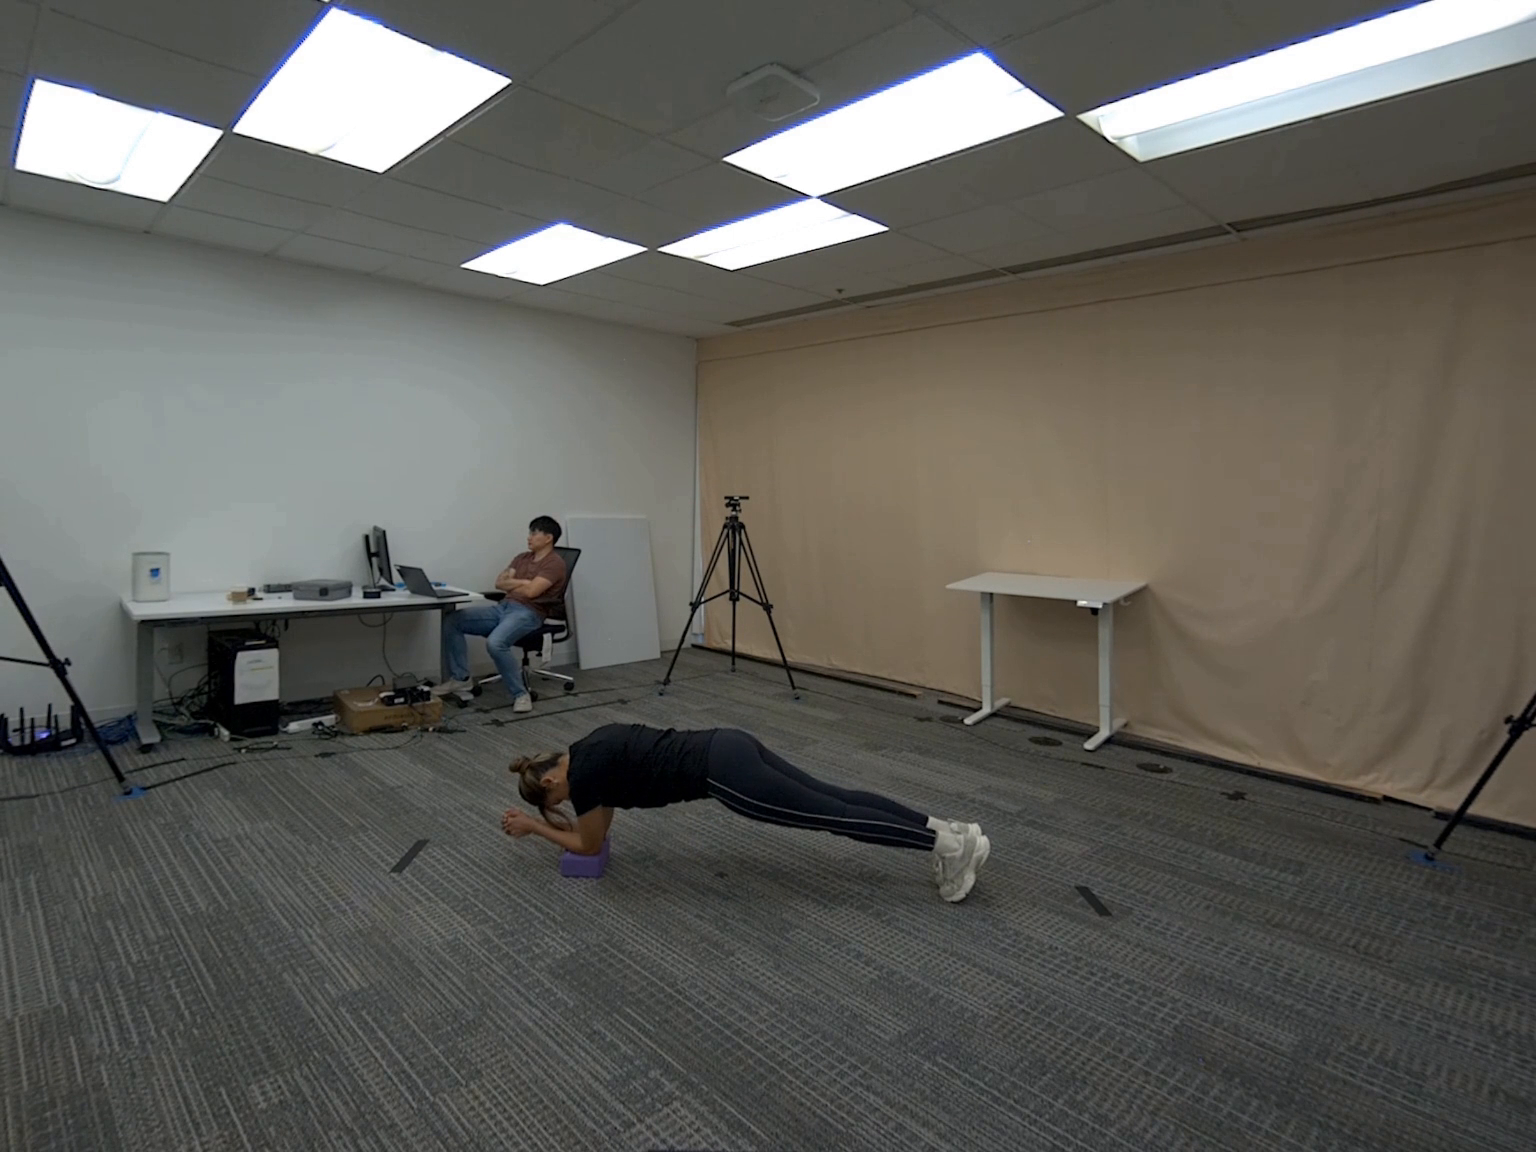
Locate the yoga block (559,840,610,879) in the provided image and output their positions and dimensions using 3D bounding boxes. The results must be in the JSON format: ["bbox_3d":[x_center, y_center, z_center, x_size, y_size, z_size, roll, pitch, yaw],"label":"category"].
[{"bbox_3d":[-0.686,1.041,3.164,0.149,0.076,0.230,0,5,1],"label":"yoga block"}]
